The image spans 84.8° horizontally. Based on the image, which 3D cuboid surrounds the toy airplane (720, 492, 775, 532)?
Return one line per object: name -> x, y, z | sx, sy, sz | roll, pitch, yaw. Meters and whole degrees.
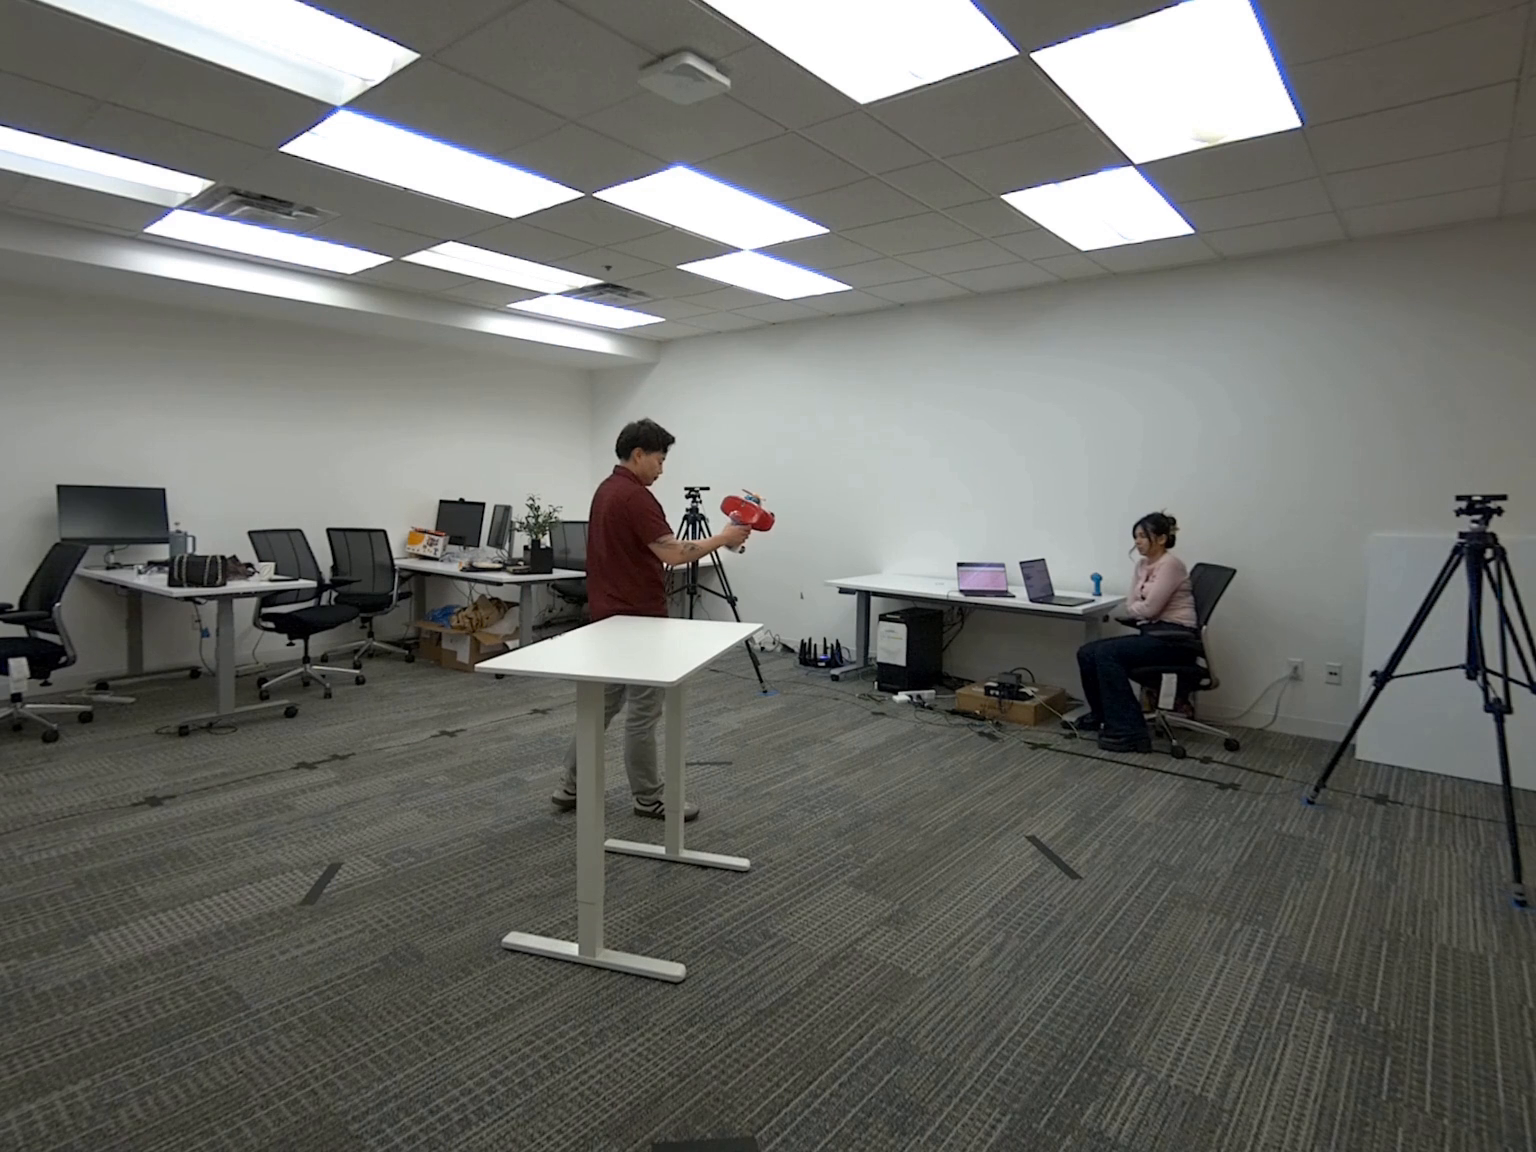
toy airplane -> -0.099, -0.220, 3.574 | 0.258, 0.263, 0.150 | -6, -37, 33
